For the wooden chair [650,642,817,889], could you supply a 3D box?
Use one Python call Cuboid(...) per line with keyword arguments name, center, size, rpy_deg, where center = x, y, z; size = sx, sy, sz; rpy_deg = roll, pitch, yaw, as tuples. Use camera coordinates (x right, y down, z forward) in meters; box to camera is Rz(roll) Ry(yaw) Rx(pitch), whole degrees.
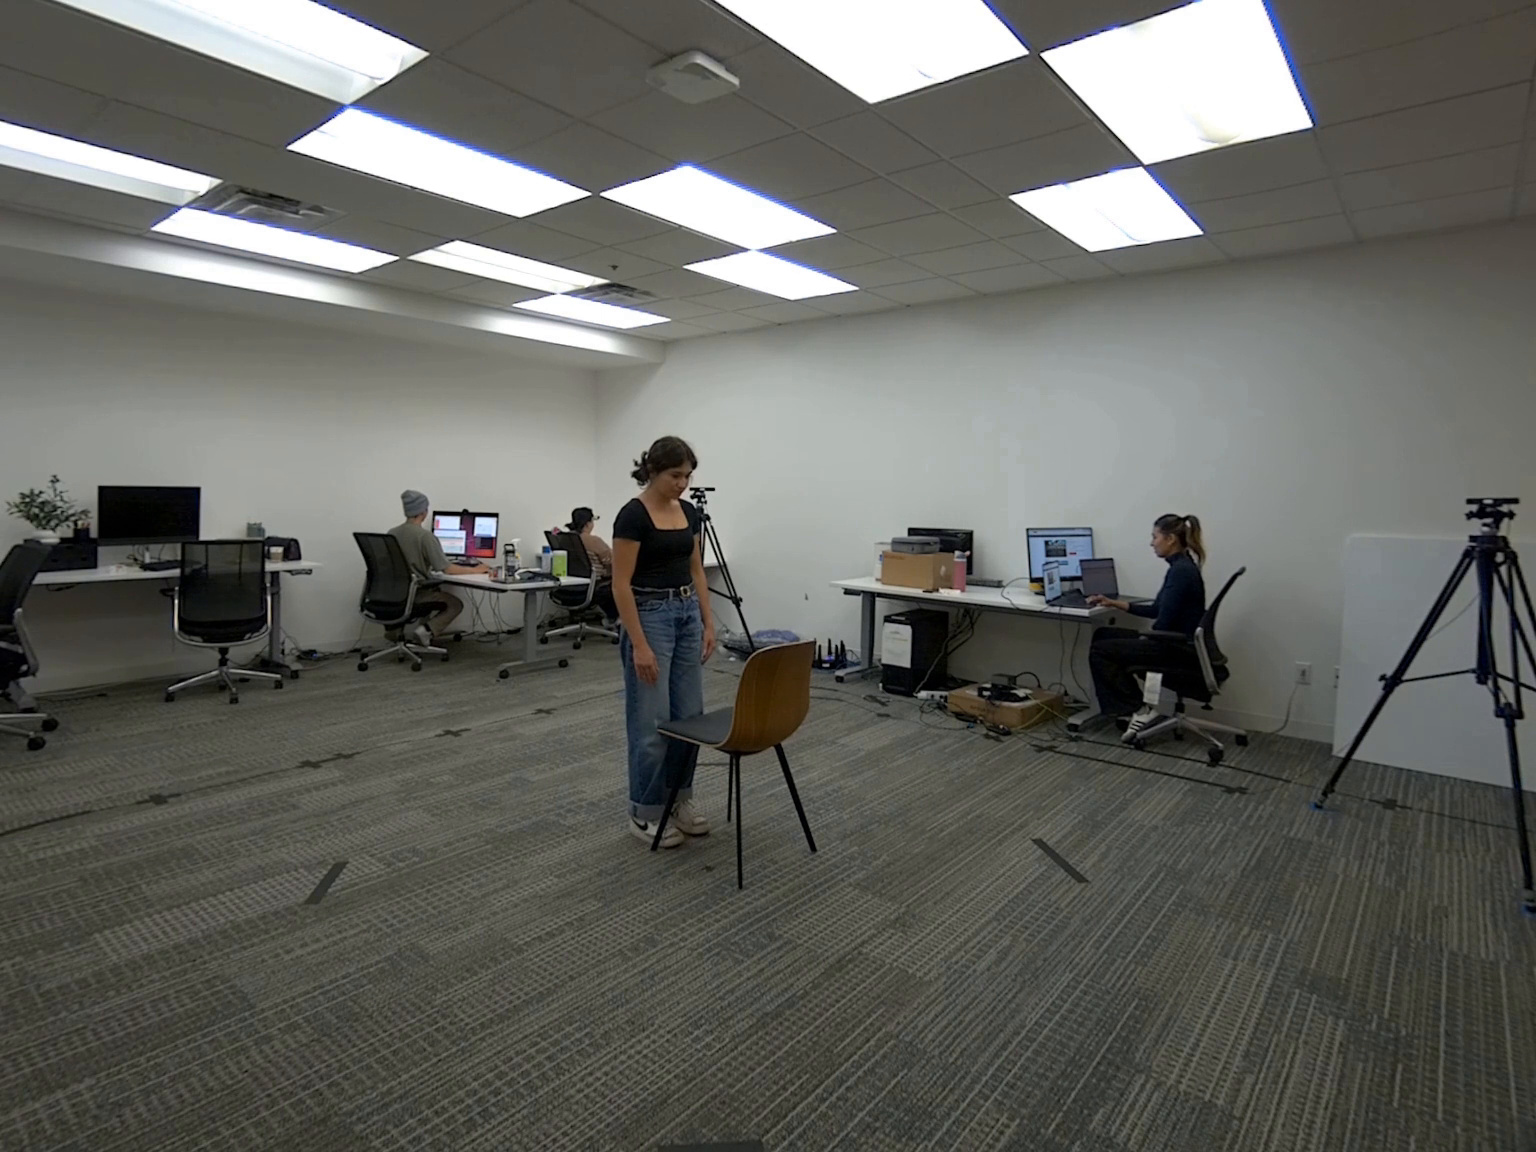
Cuboid(name="wooden chair", center=(-0.131, 0.631, 3.238), size=(0.542, 0.873, 0.464), rpy_deg=(9, 7, 40))
